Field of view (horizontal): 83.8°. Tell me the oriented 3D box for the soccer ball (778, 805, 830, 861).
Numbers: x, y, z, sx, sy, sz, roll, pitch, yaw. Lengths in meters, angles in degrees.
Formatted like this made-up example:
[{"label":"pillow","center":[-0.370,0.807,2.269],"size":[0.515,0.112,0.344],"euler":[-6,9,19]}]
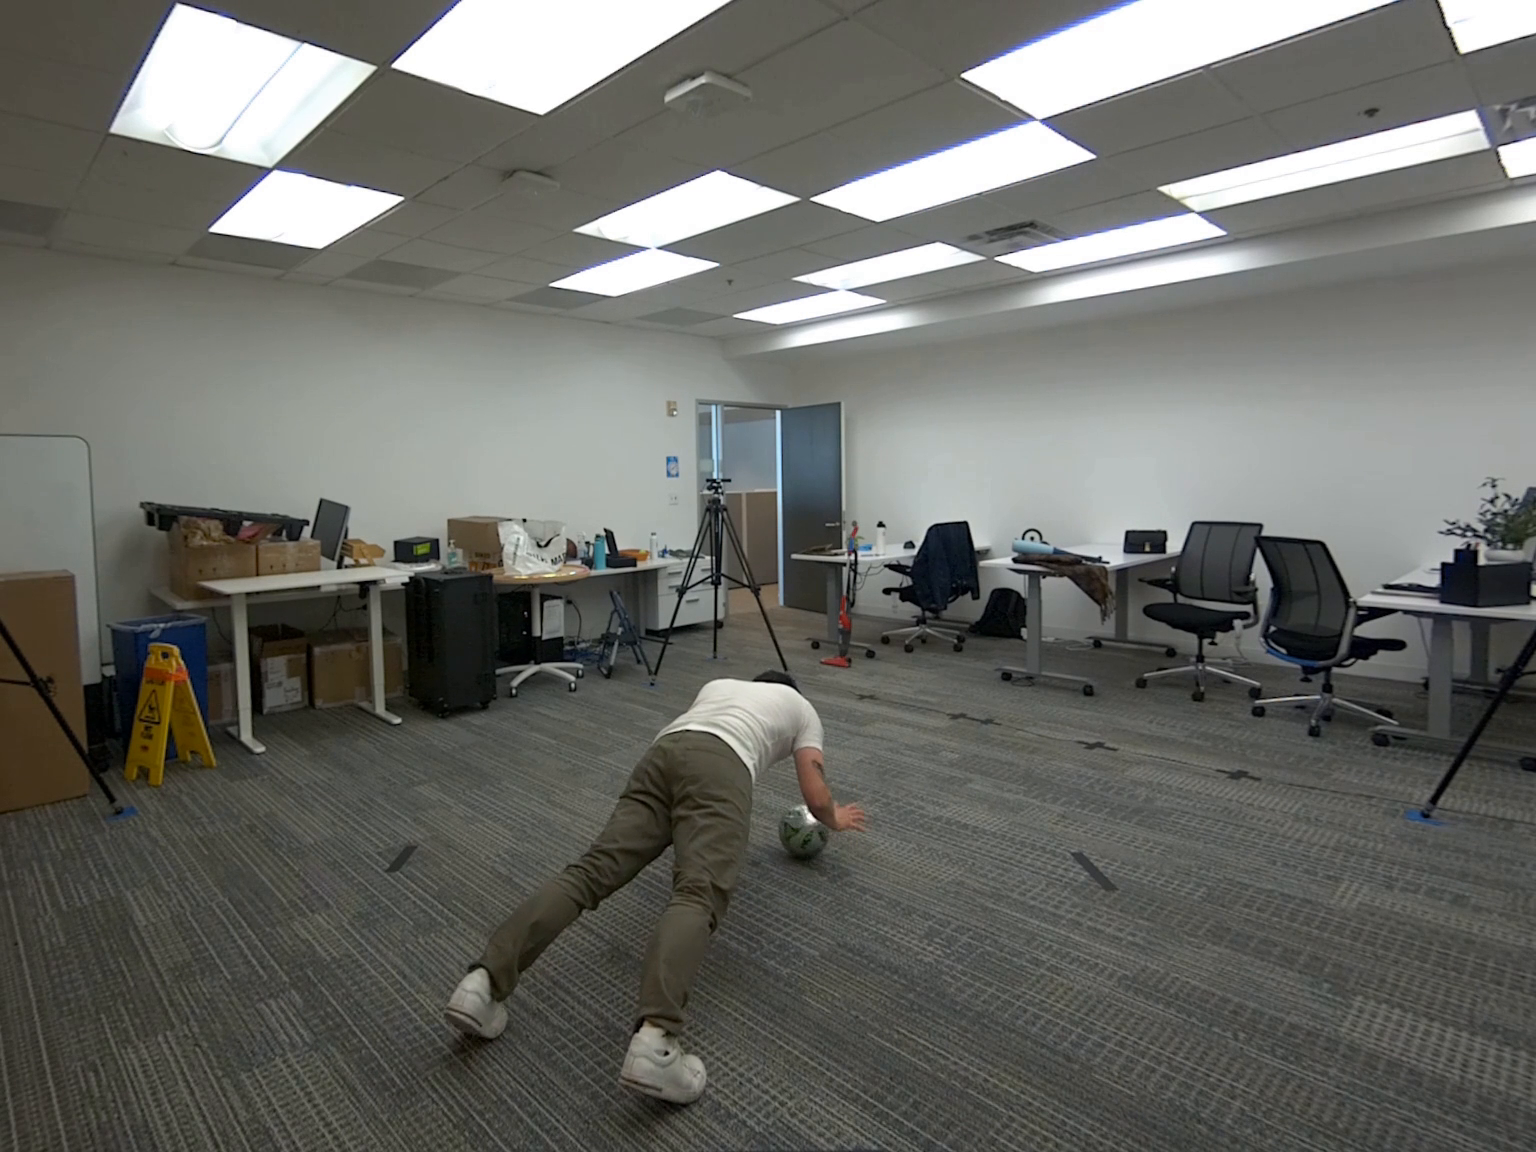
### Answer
[{"label":"soccer ball","center":[0.137,0.938,3.151],"size":[0.187,0.187,0.188],"euler":[-1,5,-2]}]
